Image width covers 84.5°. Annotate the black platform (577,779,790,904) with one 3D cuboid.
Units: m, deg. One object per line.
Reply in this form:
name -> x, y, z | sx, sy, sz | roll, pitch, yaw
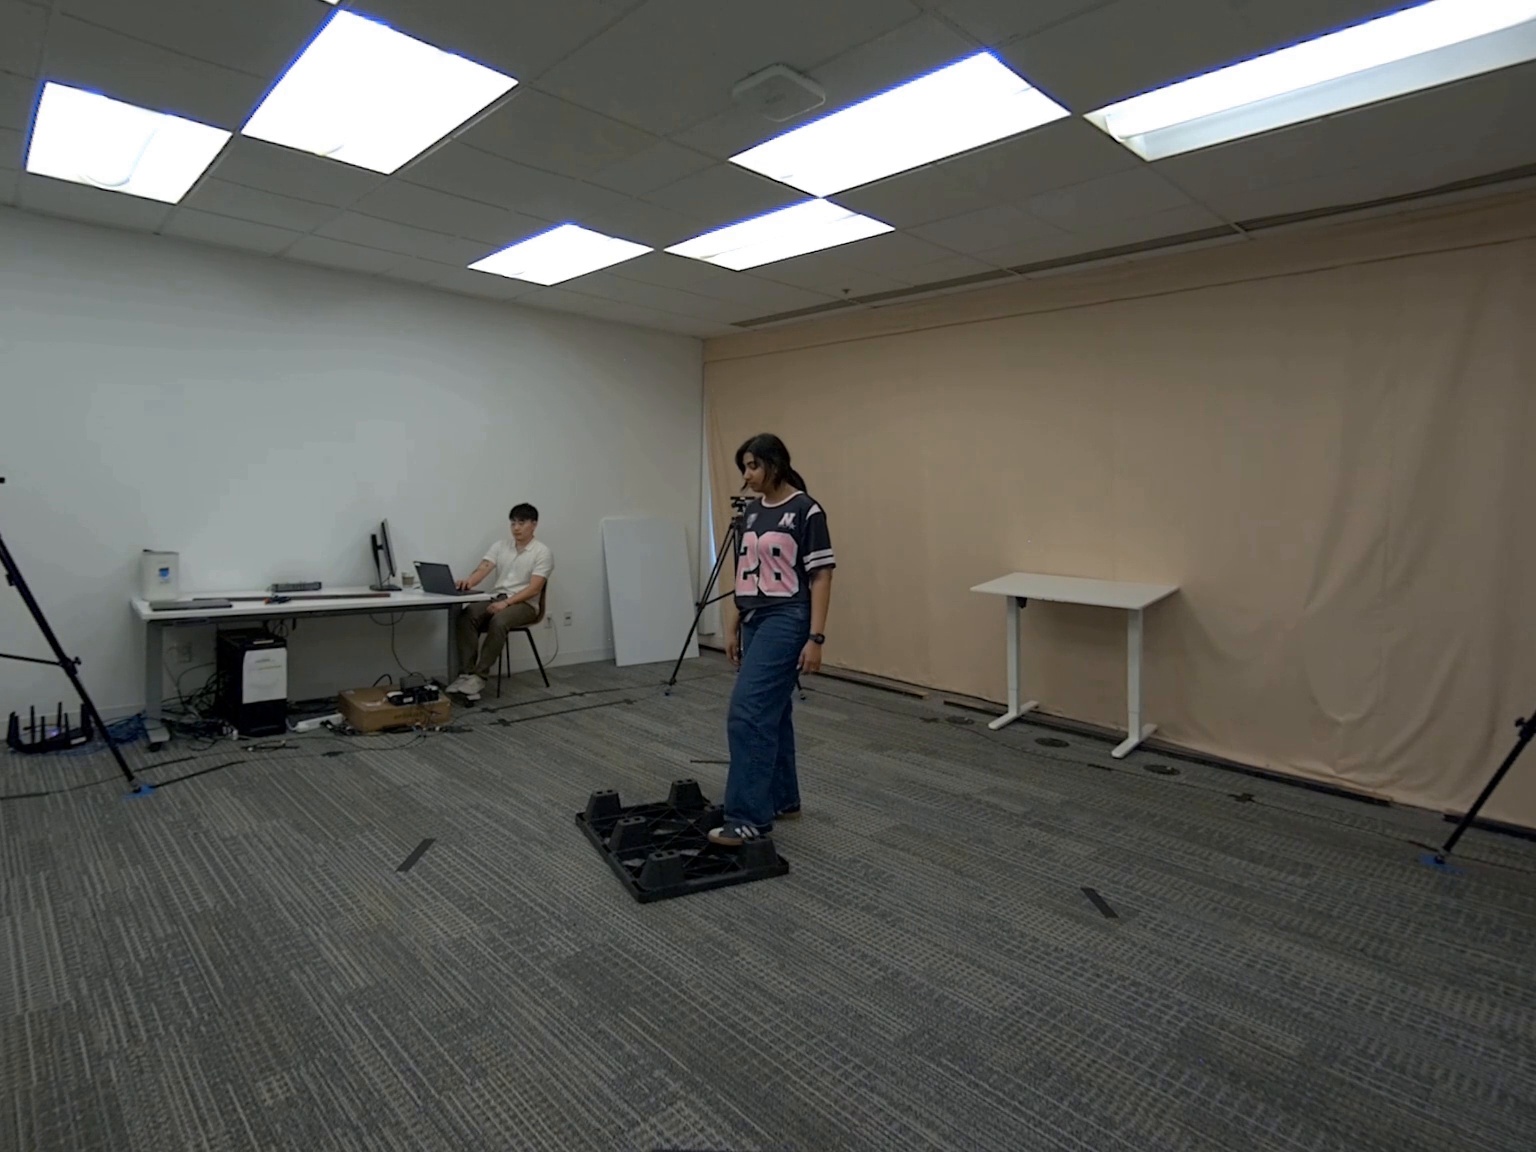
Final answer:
black platform -> -0.367, 1.013, 3.340 | 0.593, 0.143, 0.824 | -2, 6, -28
